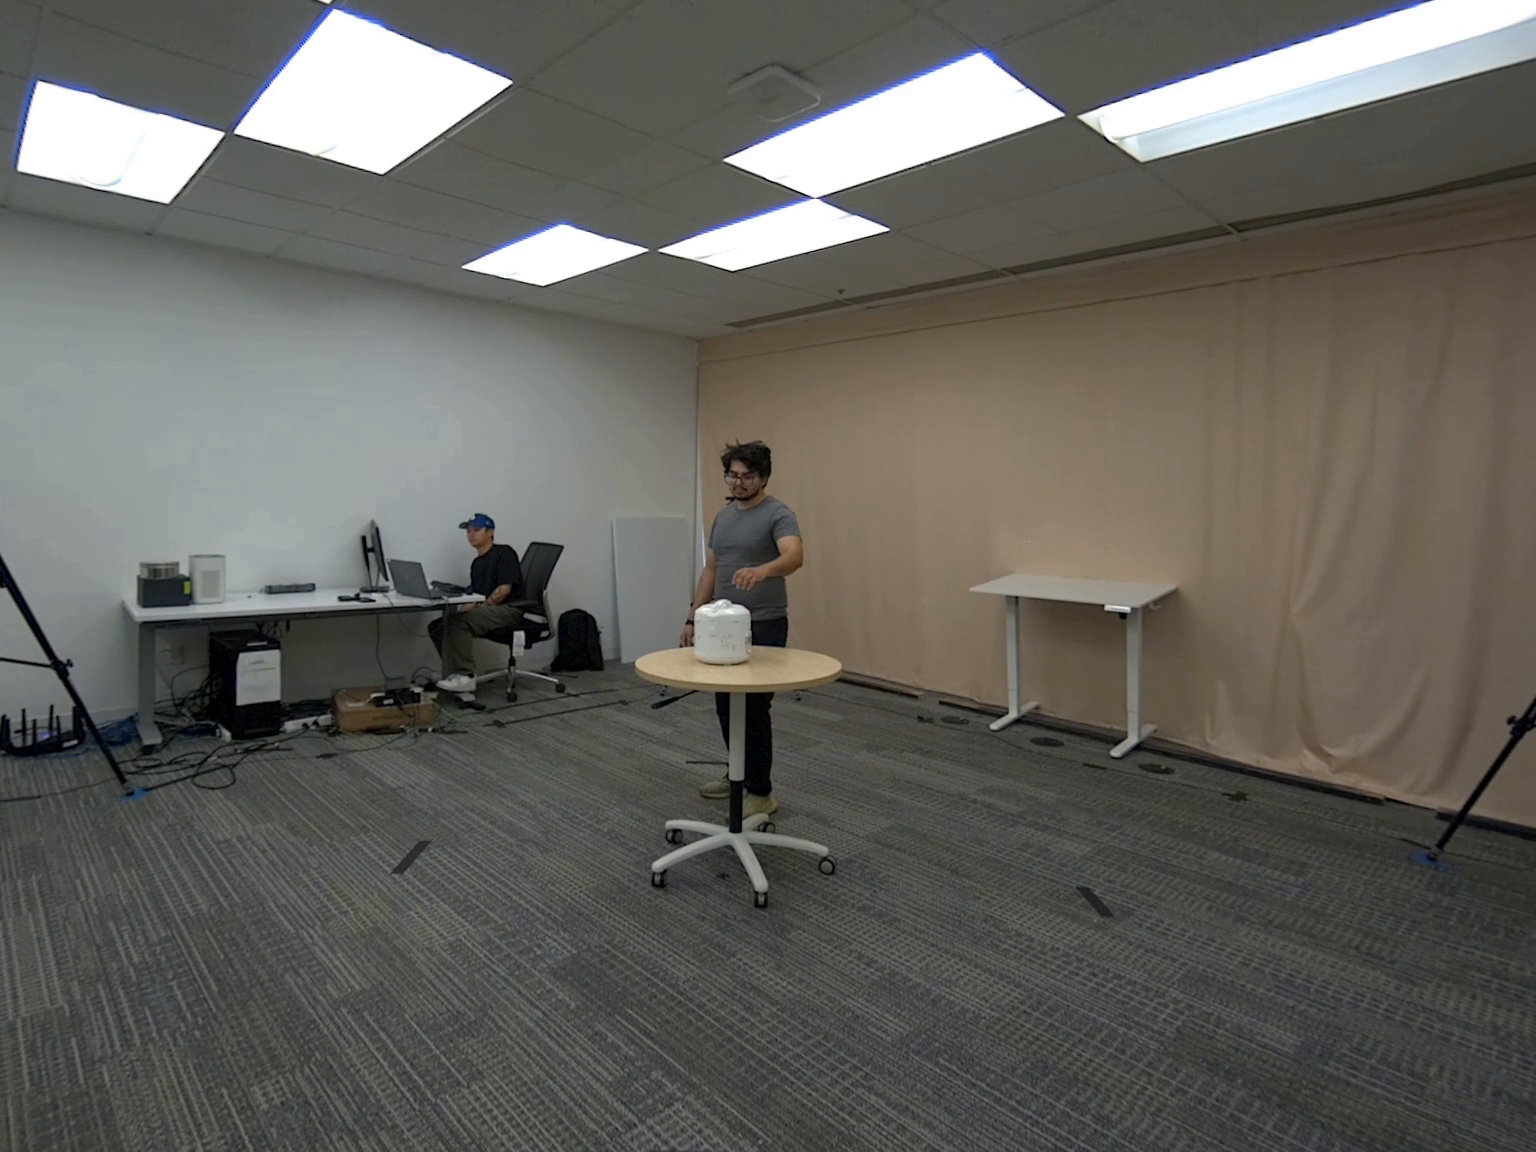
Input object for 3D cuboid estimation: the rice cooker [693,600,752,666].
[{"bbox_3d":[-0.180,0.203,3.158,0.221,0.232,0.218,2,4,18],"label":"rice cooker"}]
